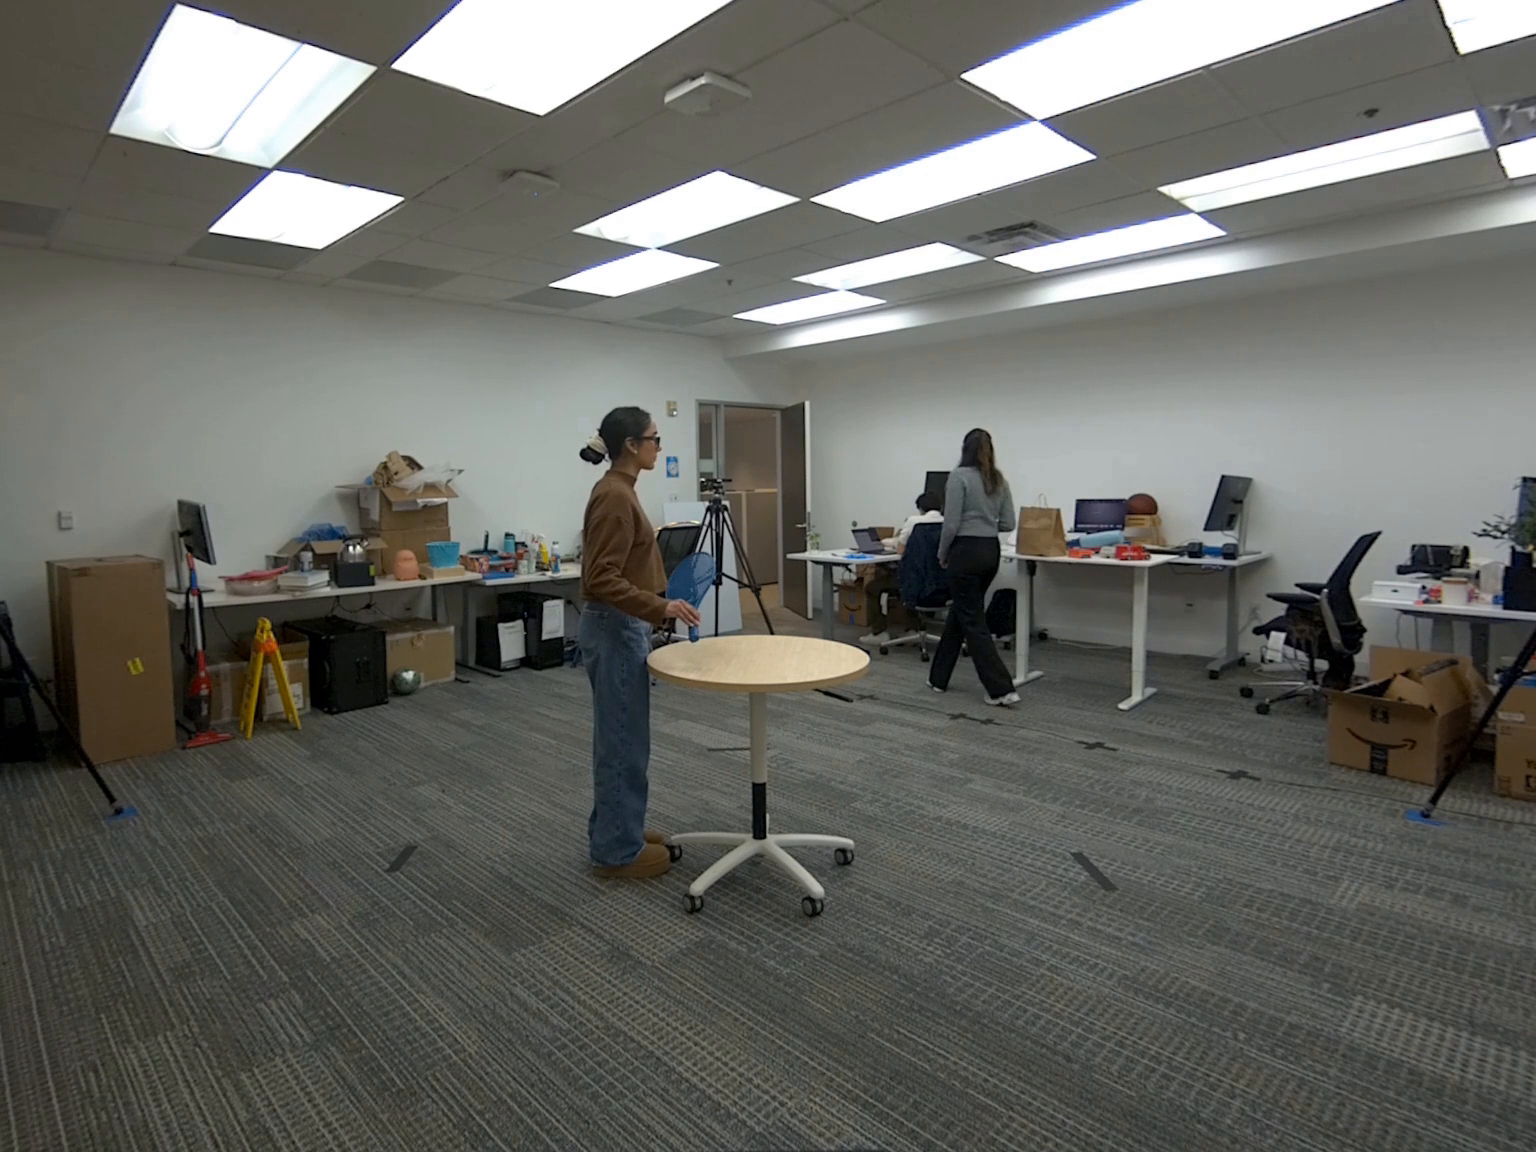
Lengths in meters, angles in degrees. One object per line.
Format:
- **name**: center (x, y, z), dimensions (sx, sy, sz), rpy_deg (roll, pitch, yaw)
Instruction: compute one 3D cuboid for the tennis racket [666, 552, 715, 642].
- **tennis racket**: center (-0.268, 0.077, 2.870), dimensions (0.215, 0.445, 0.030), rpy_deg (-30, -54, 23)
